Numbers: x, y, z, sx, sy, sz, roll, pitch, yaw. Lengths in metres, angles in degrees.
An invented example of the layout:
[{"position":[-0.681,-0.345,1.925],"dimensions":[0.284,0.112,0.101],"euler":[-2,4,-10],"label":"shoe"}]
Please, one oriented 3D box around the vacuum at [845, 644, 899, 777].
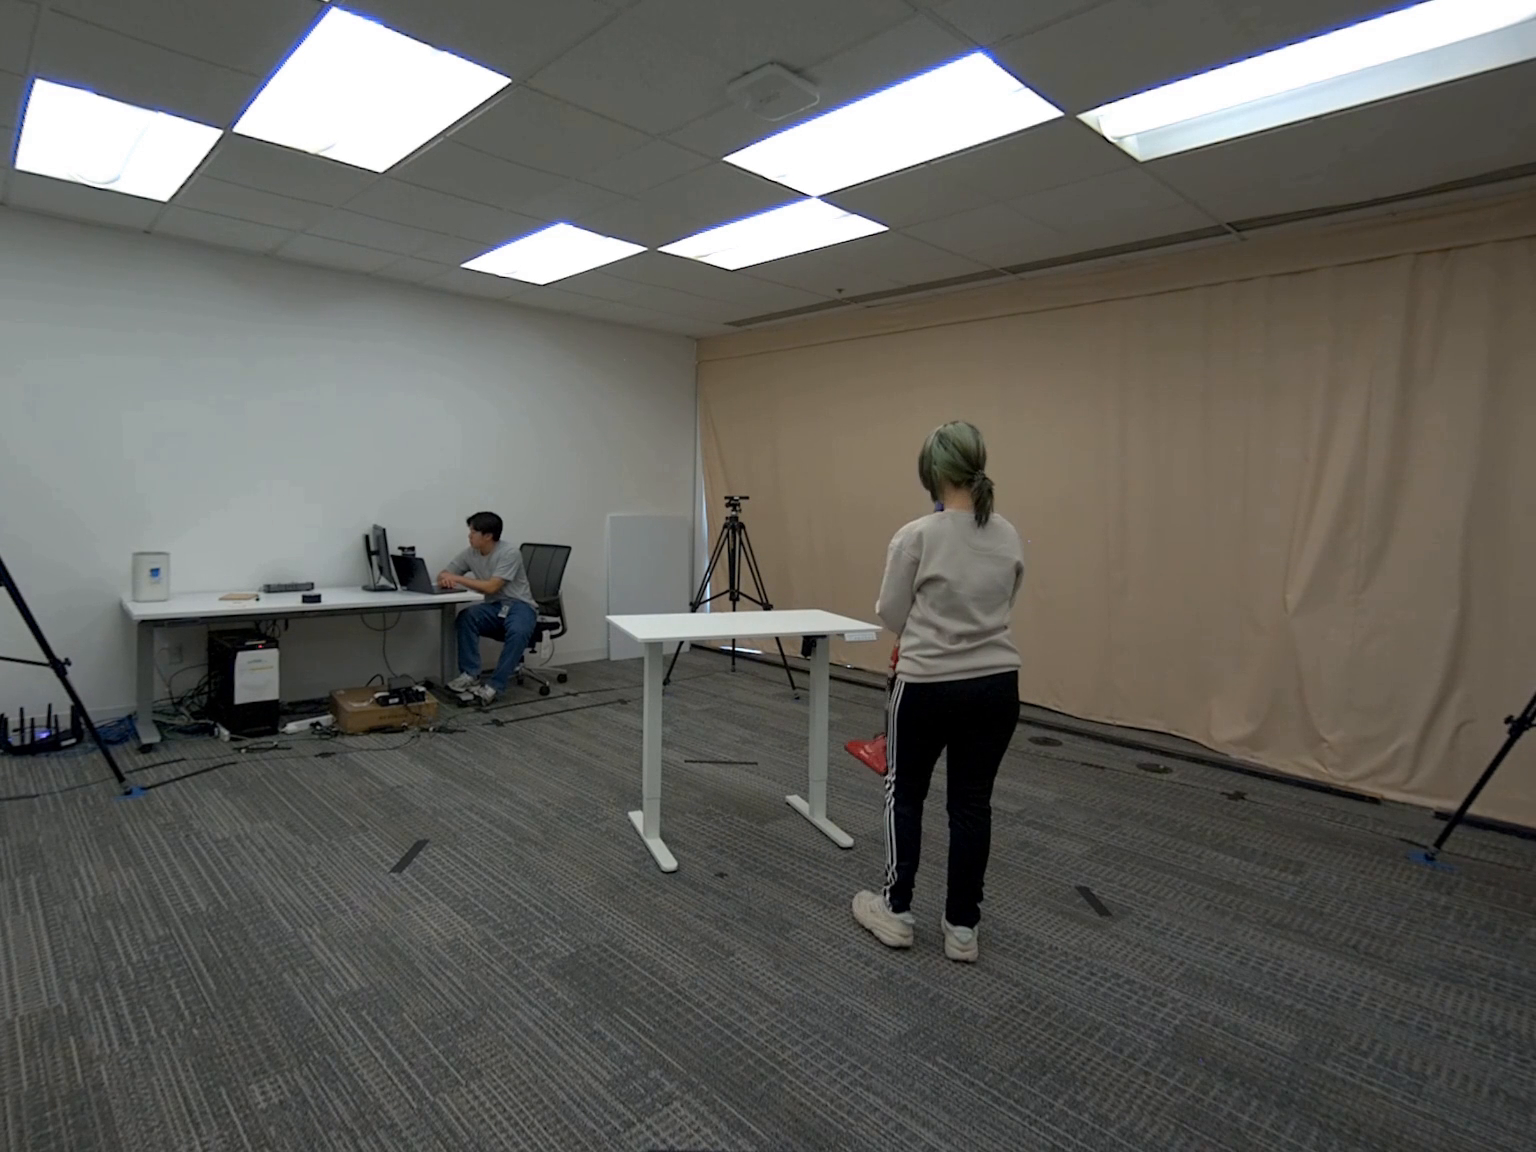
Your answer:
[{"position":[0.517,0.108,2.875],"dimensions":[0.141,1.048,0.258],"euler":[15,2,-23],"label":"vacuum"}]
